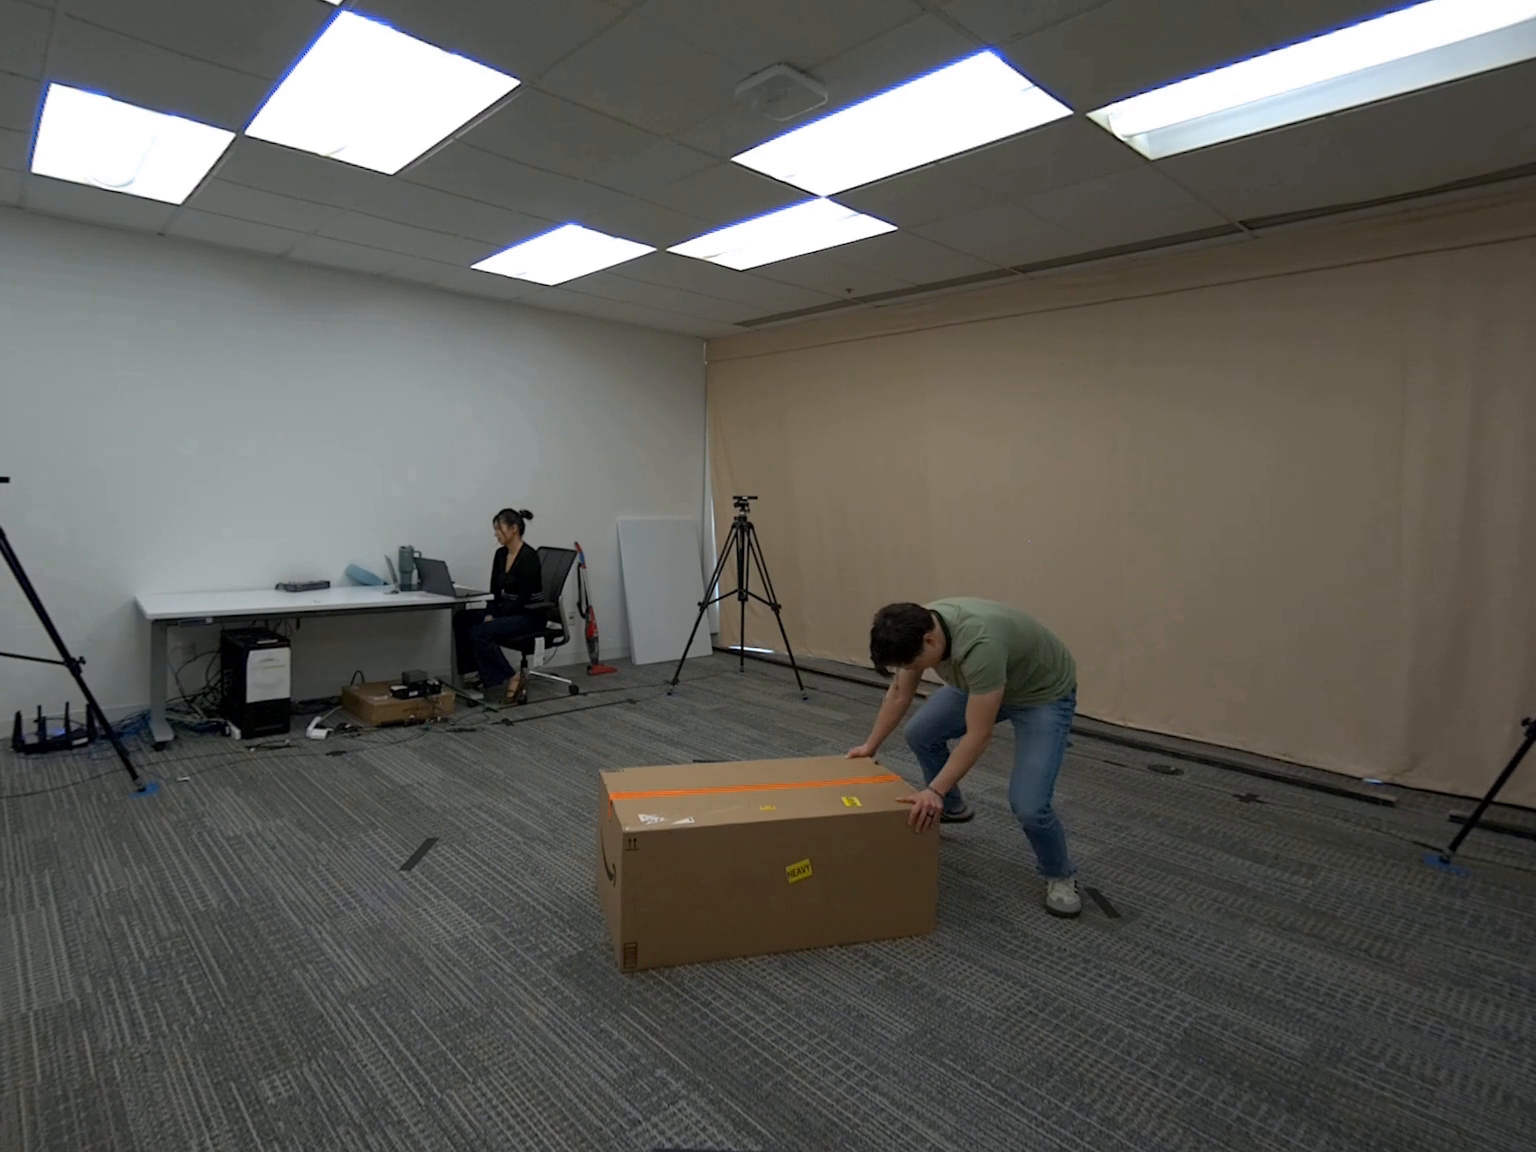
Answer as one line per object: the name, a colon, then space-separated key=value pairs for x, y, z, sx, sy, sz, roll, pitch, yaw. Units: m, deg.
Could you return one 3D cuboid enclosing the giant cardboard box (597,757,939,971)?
giant cardboard box: x=-0.035 y=0.916 z=2.838 sx=1.013 sy=0.425 sz=0.587 roll=0 pitch=5 yaw=-17
